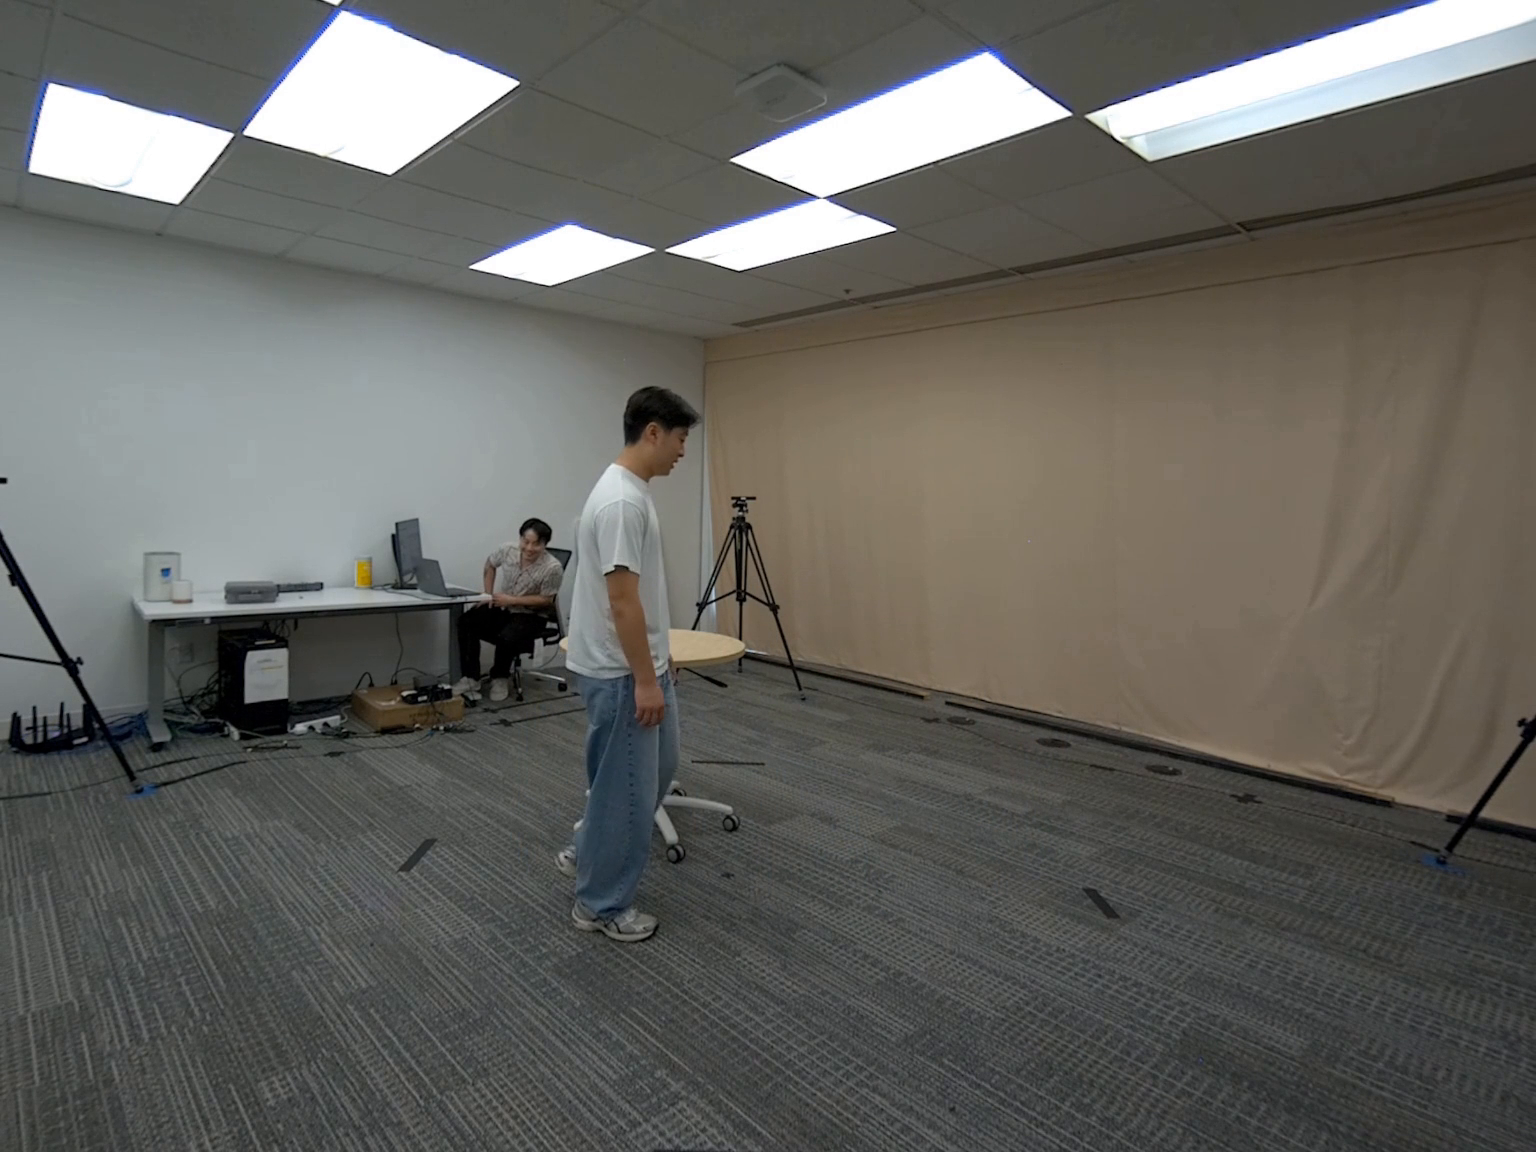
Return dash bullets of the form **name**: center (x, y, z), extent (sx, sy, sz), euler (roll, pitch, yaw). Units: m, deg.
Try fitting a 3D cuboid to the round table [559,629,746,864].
- **round table**: center (-0.494, 0.675, 3.513), extent (0.763, 0.792, 0.766), euler (1, 4, -1)
